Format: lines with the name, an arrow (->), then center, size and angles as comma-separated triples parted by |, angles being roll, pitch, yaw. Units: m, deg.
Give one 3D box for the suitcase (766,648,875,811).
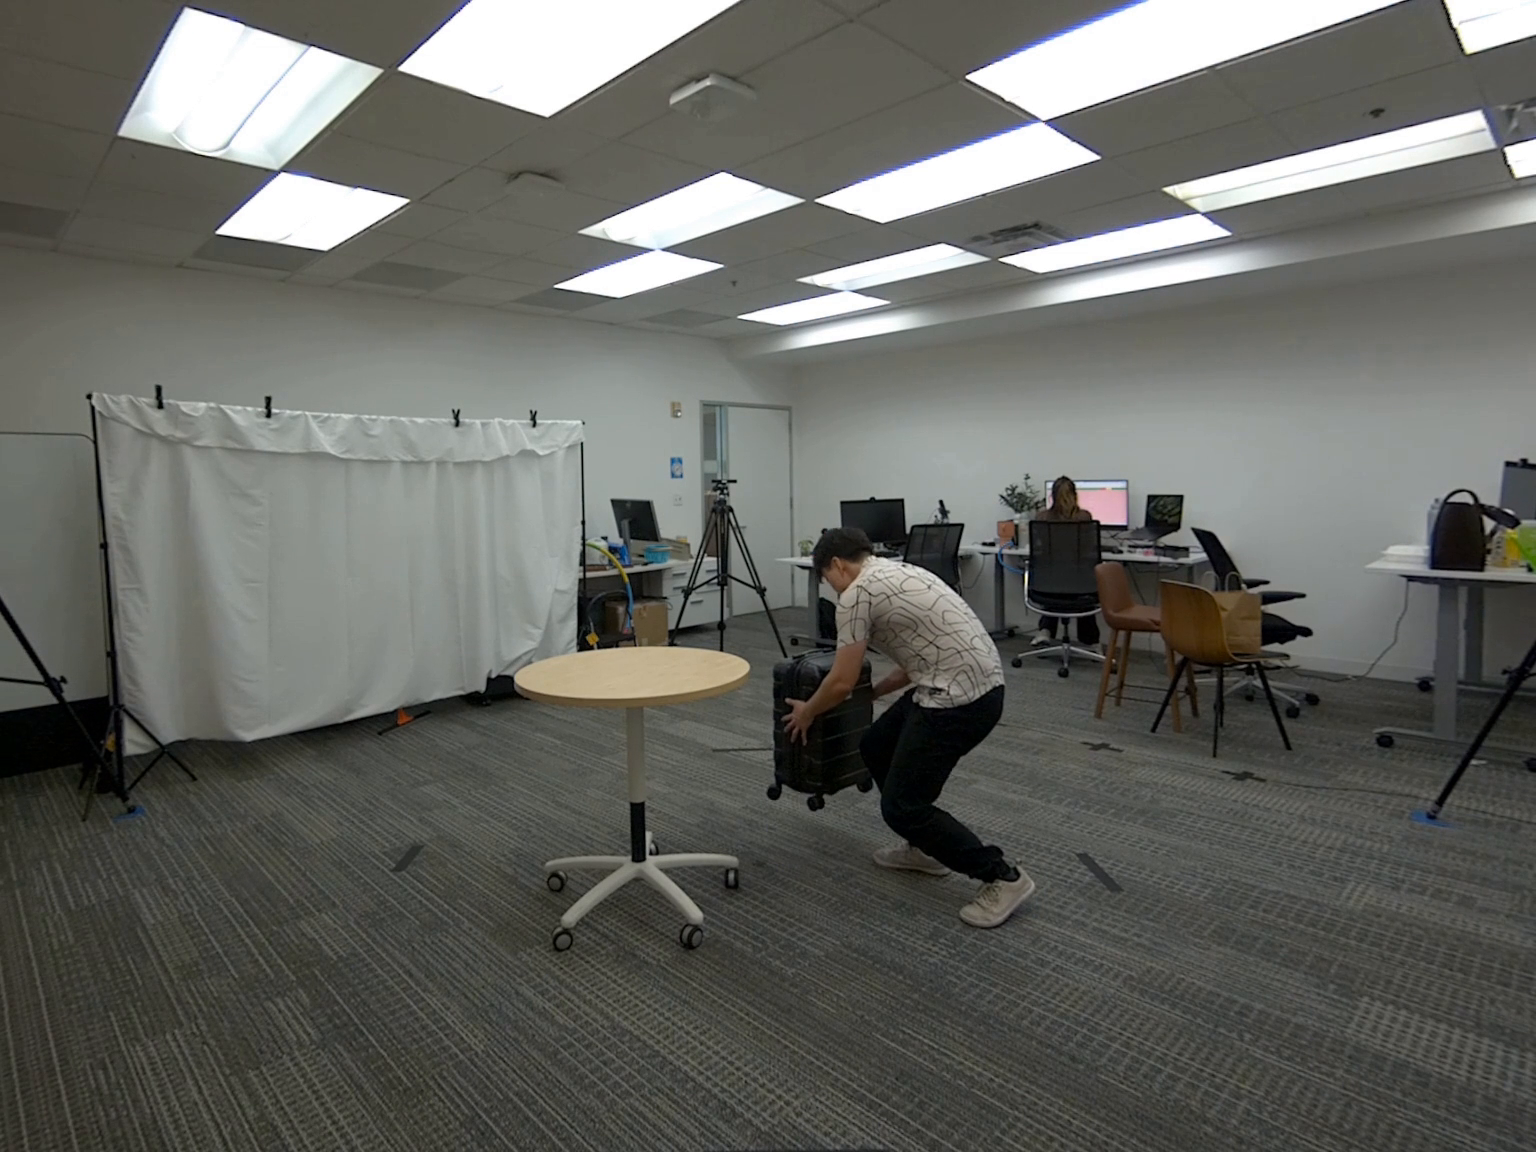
suitcase -> 0.214, 0.567, 3.281 | 0.365, 0.548, 0.256 | -2, 3, -44
